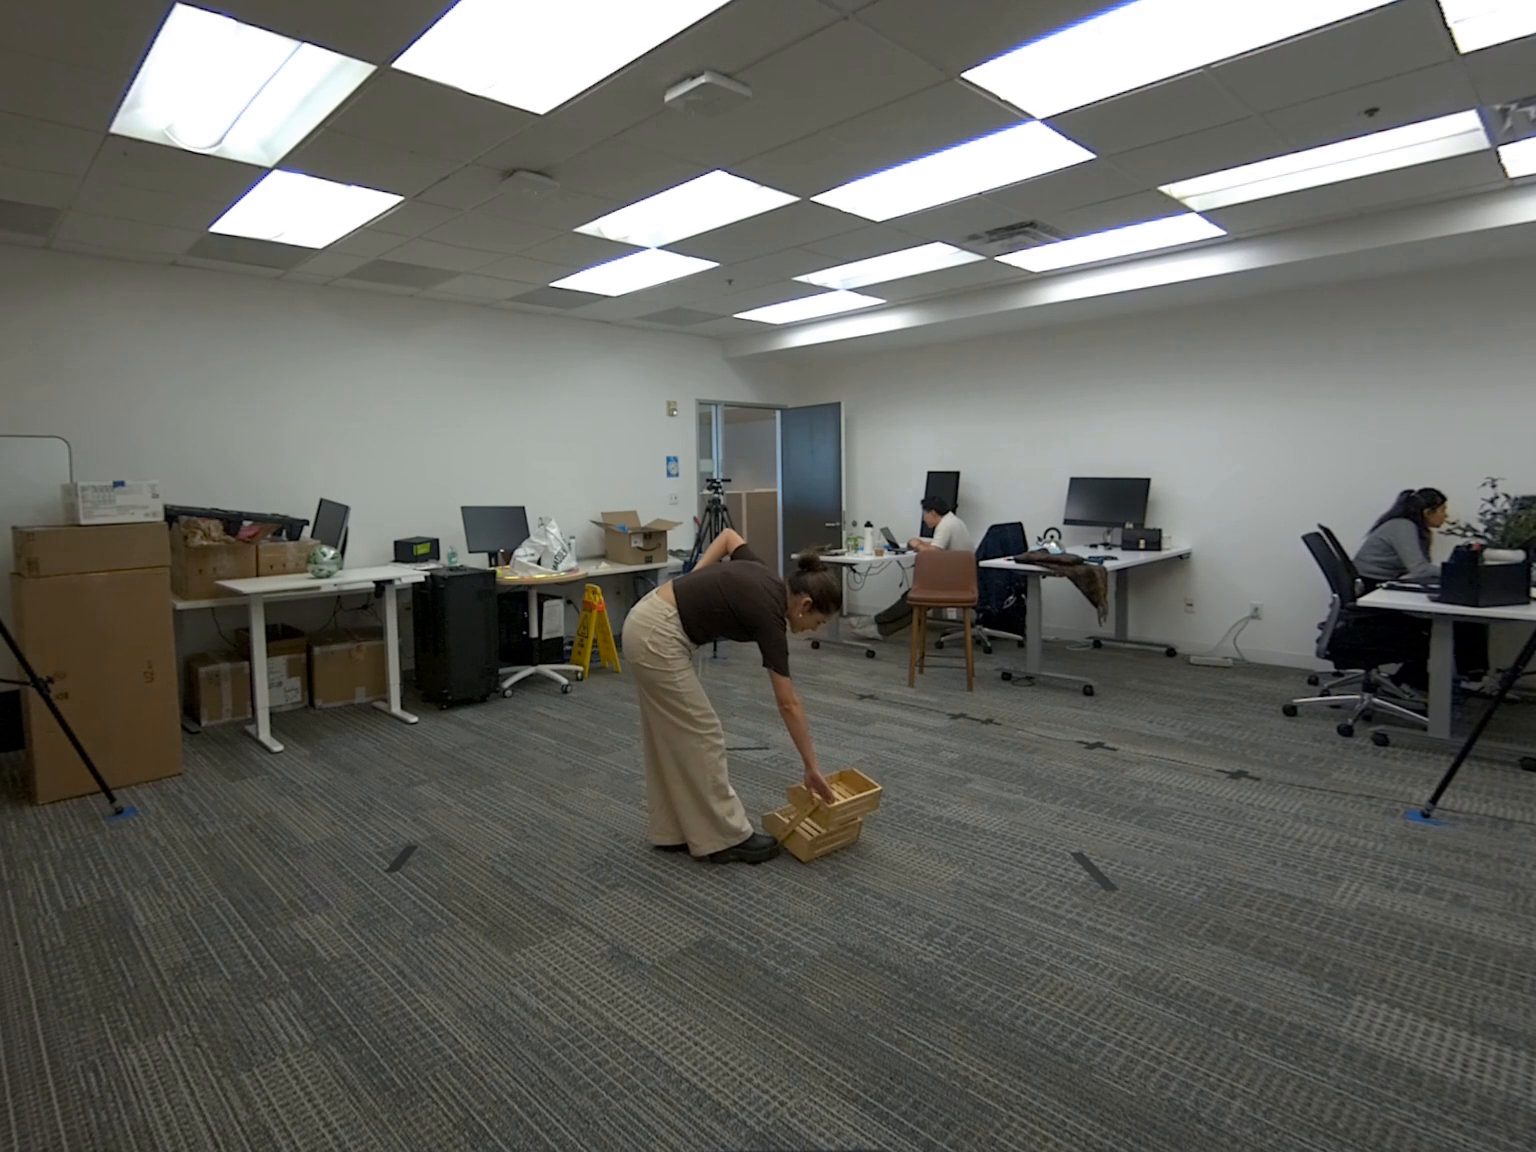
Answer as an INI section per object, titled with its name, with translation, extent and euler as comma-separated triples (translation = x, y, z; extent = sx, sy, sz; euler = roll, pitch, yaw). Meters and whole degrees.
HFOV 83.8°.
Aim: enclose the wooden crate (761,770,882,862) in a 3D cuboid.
[wooden crate]
translation = 0.189, 0.865, 3.215
extent = 0.316, 0.270, 0.313
euler = -4, 22, -43
